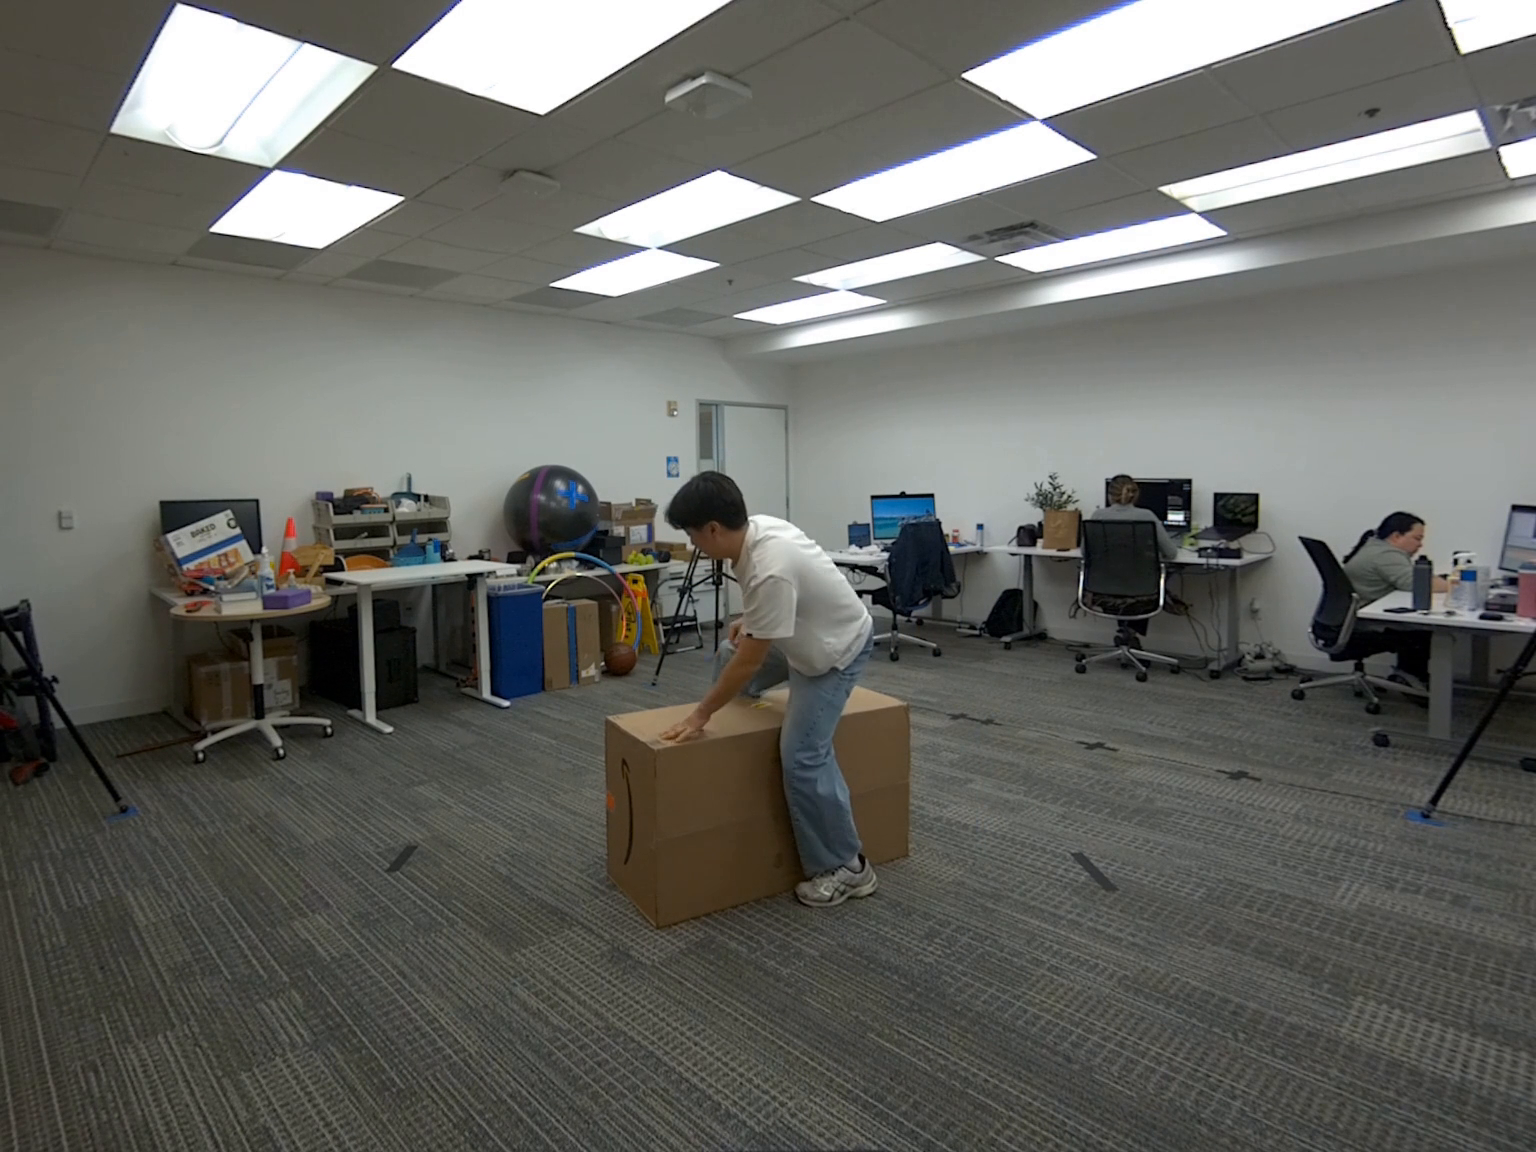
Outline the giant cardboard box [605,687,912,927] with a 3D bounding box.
[{"bbox_3d":[-0.026,0.764,3.064,1.002,0.575,0.438,-4,6,-29],"label":"giant cardboard box"}]
